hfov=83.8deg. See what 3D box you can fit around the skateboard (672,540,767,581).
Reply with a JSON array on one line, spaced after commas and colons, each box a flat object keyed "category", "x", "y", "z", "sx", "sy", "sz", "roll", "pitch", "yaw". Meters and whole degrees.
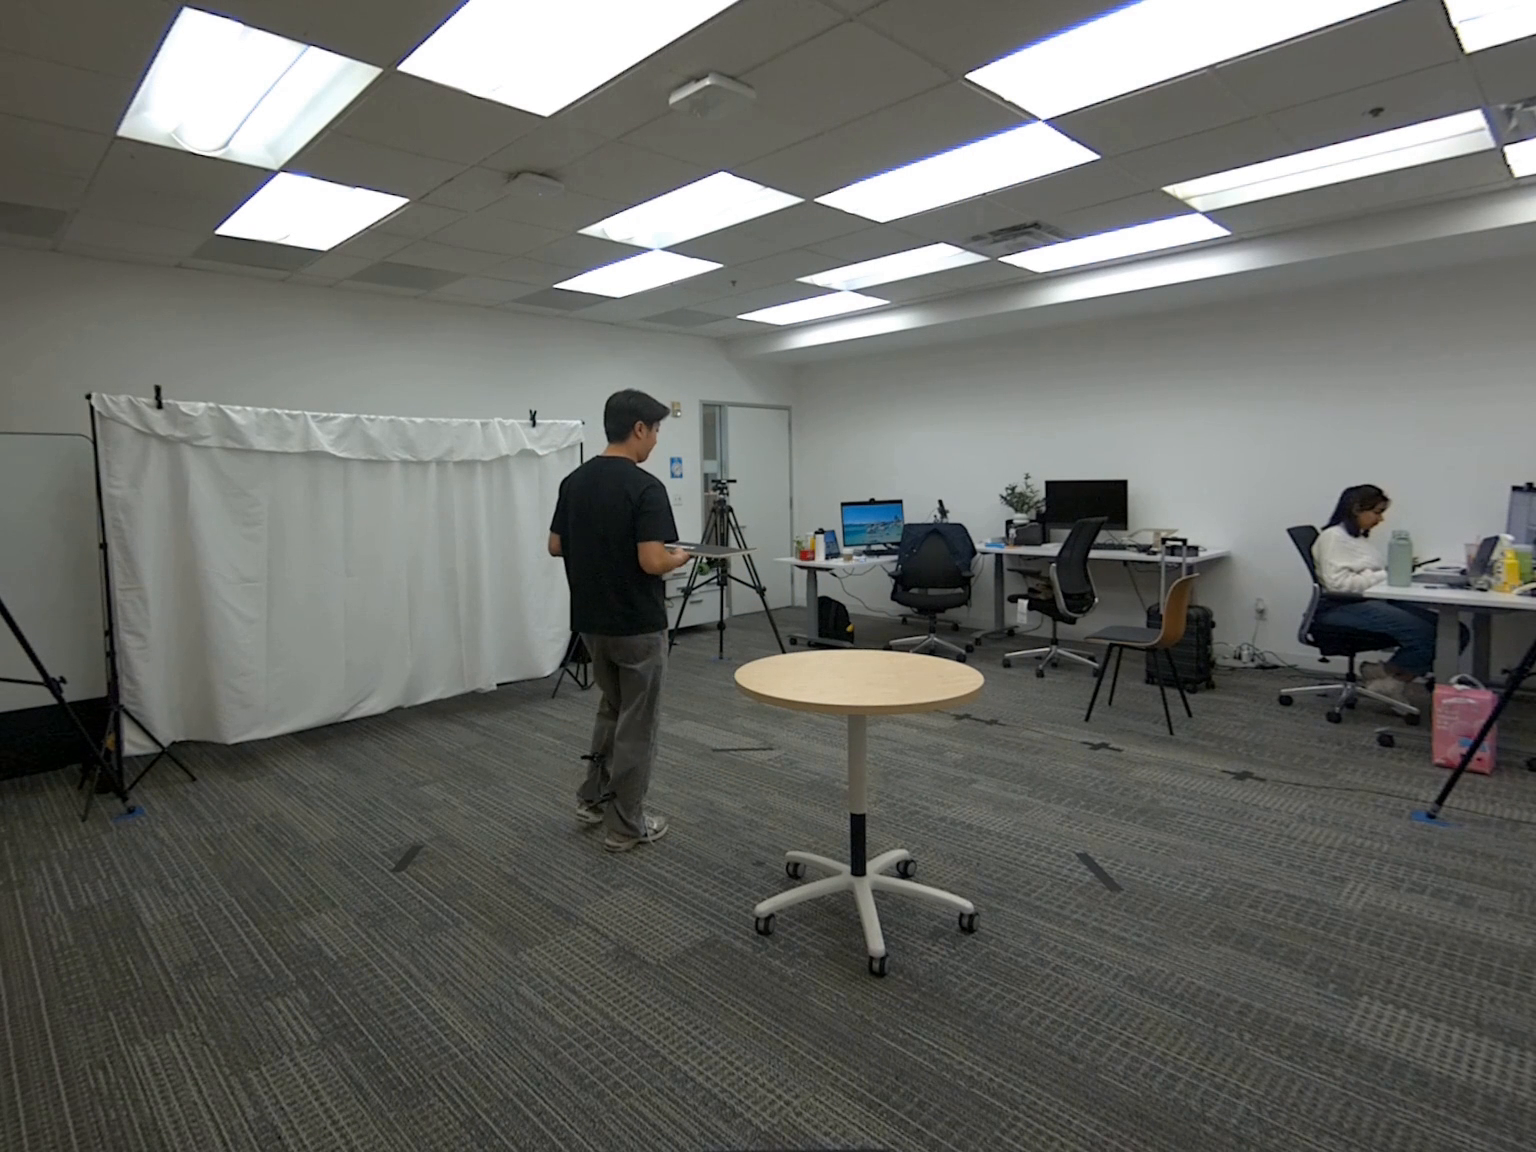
[{"category": "skateboard", "x": -0.394, "y": -0.084, "z": 3.516, "sx": 0.809, "sy": 0.110, "sz": 0.188, "roll": 6, "pitch": 7, "yaw": 34}]
